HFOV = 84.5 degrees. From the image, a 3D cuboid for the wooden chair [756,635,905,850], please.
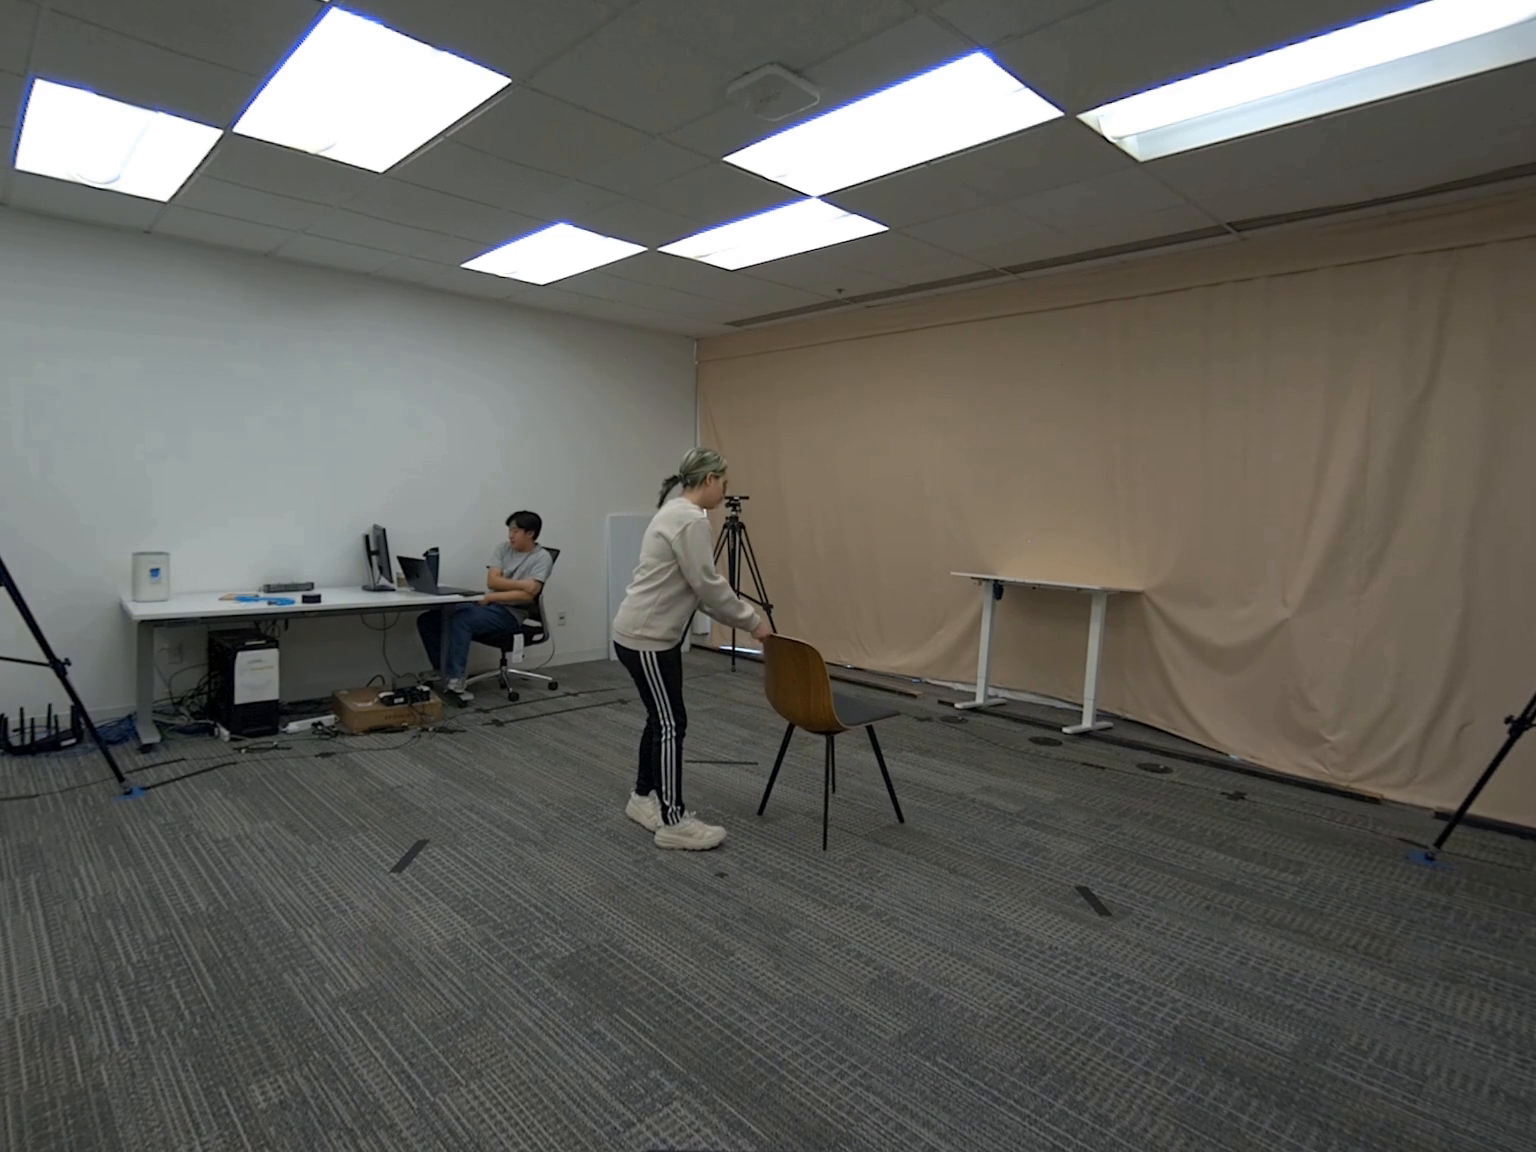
[{"bbox_3d":[0.258,0.630,3.616,0.513,0.872,0.490,-10,9,-36],"label":"wooden chair"}]
